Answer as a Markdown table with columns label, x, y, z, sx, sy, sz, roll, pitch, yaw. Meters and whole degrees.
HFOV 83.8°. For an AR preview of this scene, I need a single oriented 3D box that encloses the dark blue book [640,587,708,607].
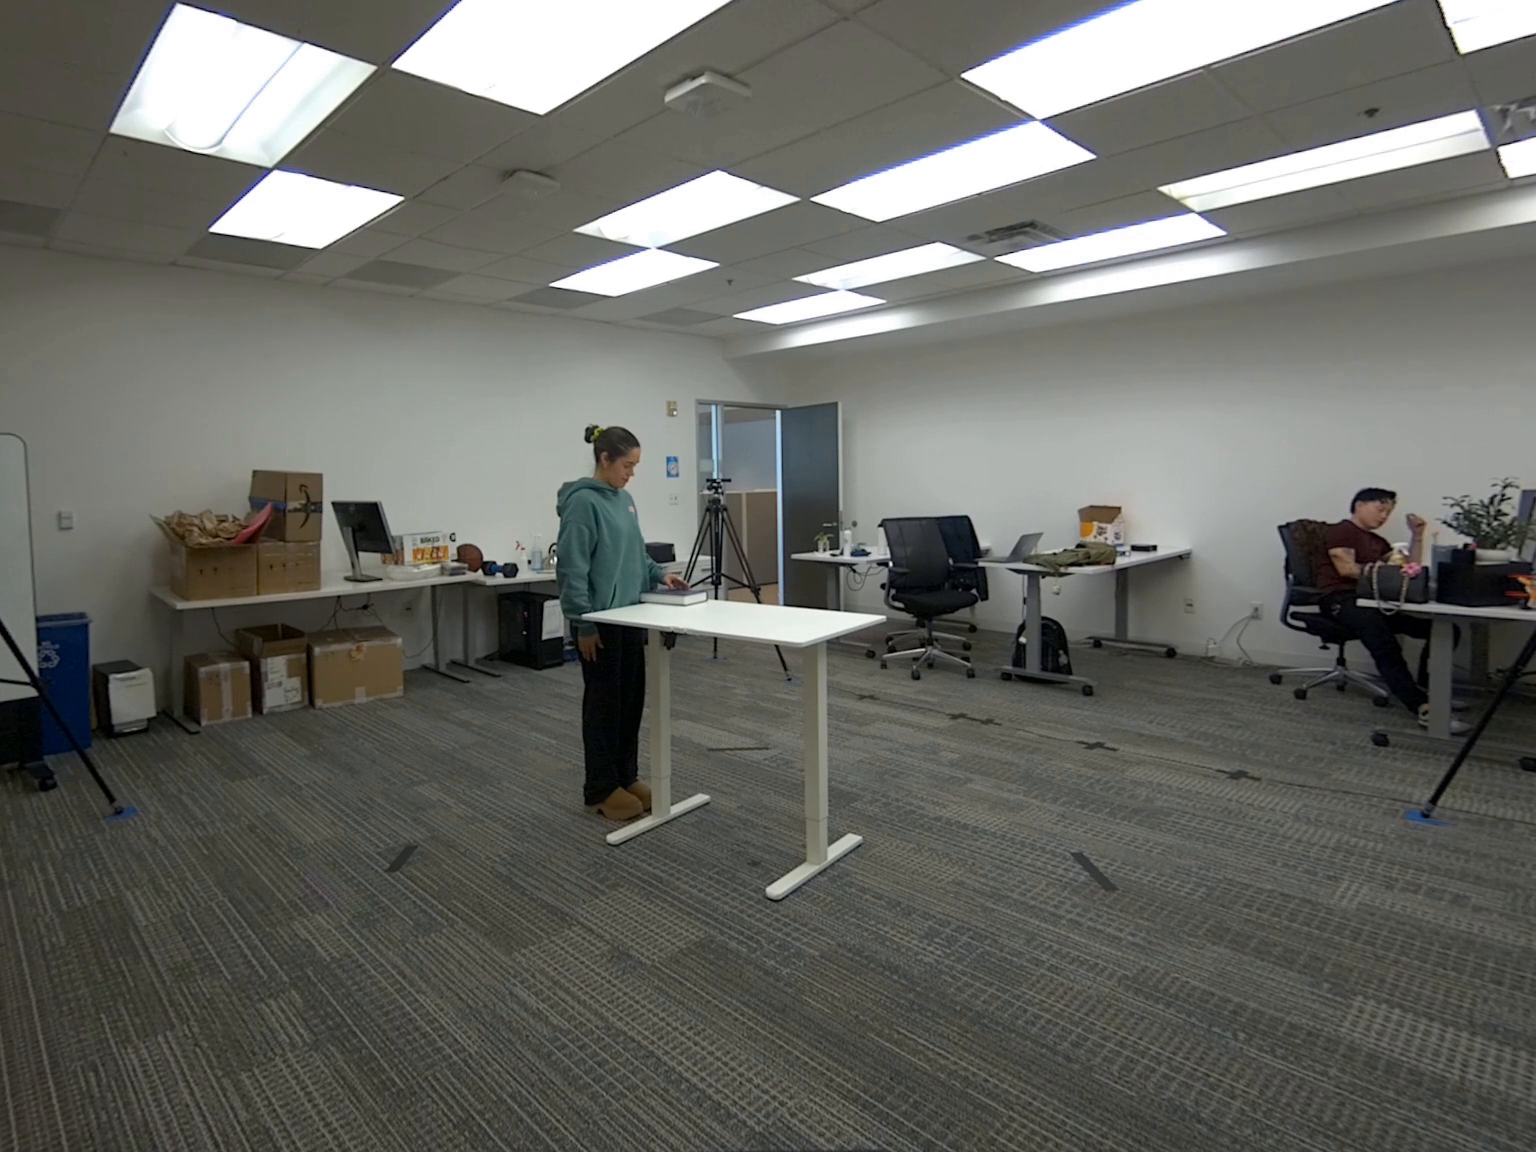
| label | x | y | z | sx | sy | sz | roll | pitch | yaw |
| --- | --- | --- | --- | --- | --- | --- | --- | --- | --- |
| dark blue book | -0.405 | 0.091 | 3.615 | 0.252 | 0.045 | 0.159 | 1 | 5 | 32 |
